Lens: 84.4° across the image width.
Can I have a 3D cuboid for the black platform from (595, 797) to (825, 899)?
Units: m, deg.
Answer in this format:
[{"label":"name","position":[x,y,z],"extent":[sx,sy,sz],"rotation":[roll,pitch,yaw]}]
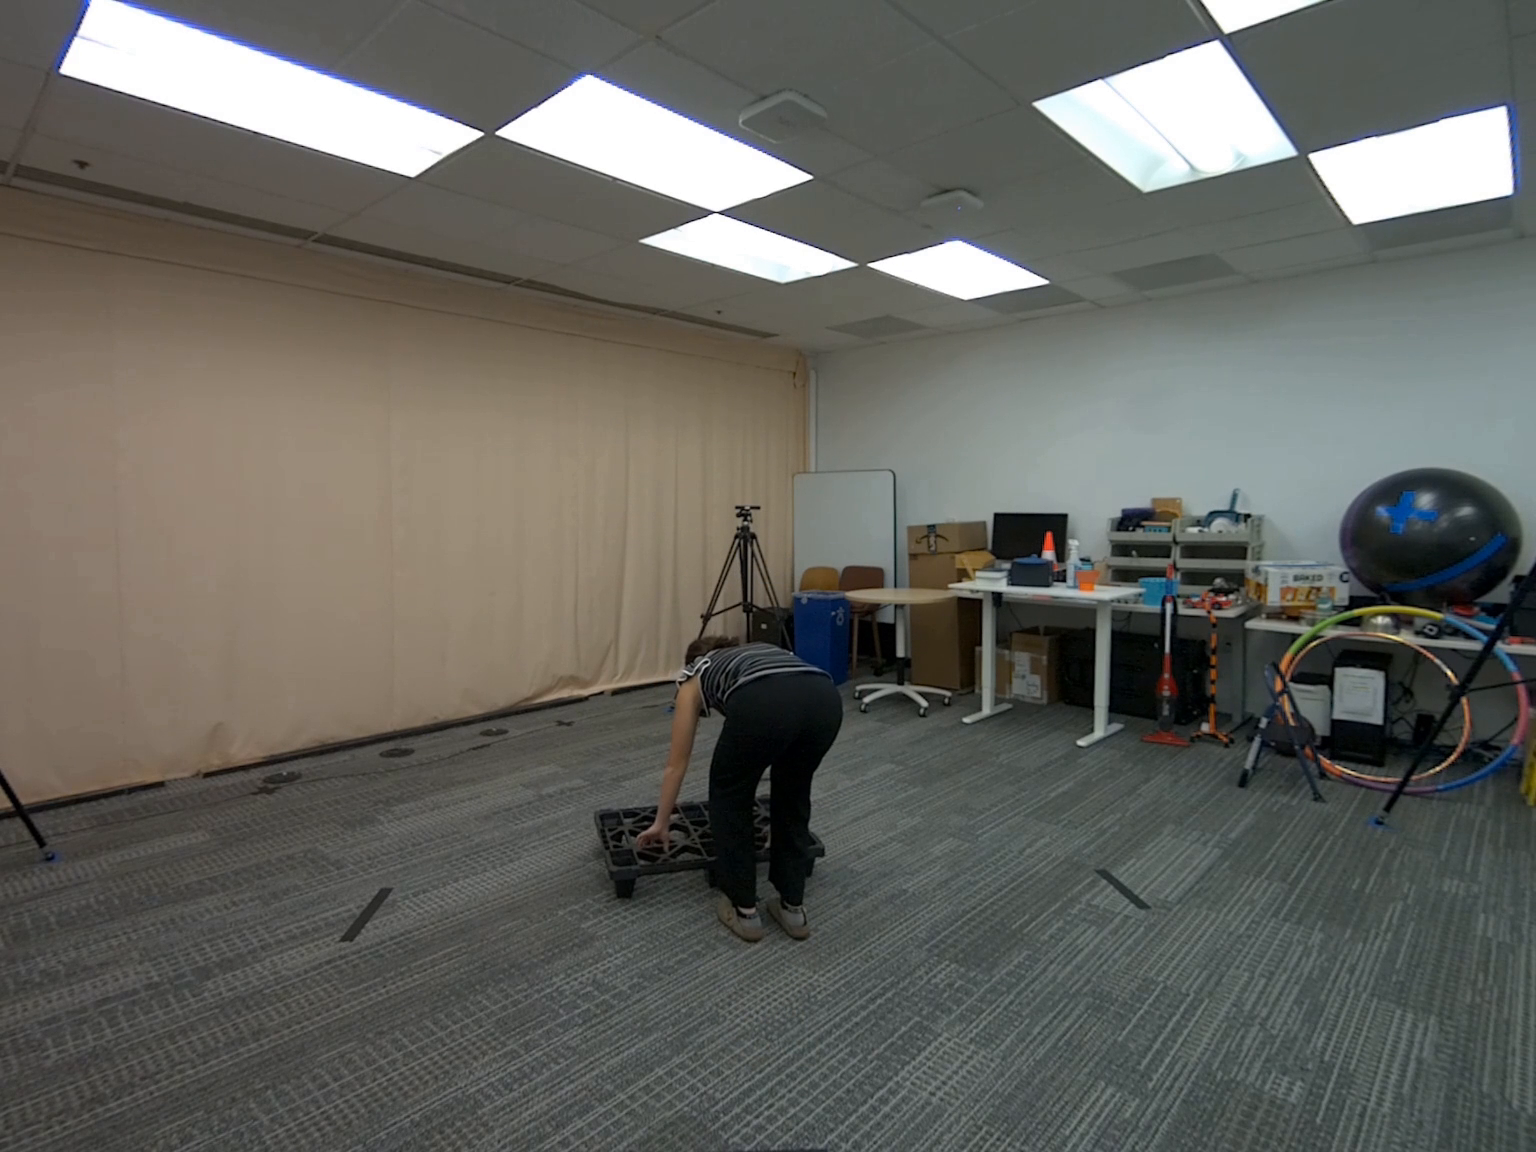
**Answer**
[{"label":"black platform","position":[-0.253,1.050,3.300],"extent":[0.794,0.143,0.615],"rotation":[-1,4,-15]}]
